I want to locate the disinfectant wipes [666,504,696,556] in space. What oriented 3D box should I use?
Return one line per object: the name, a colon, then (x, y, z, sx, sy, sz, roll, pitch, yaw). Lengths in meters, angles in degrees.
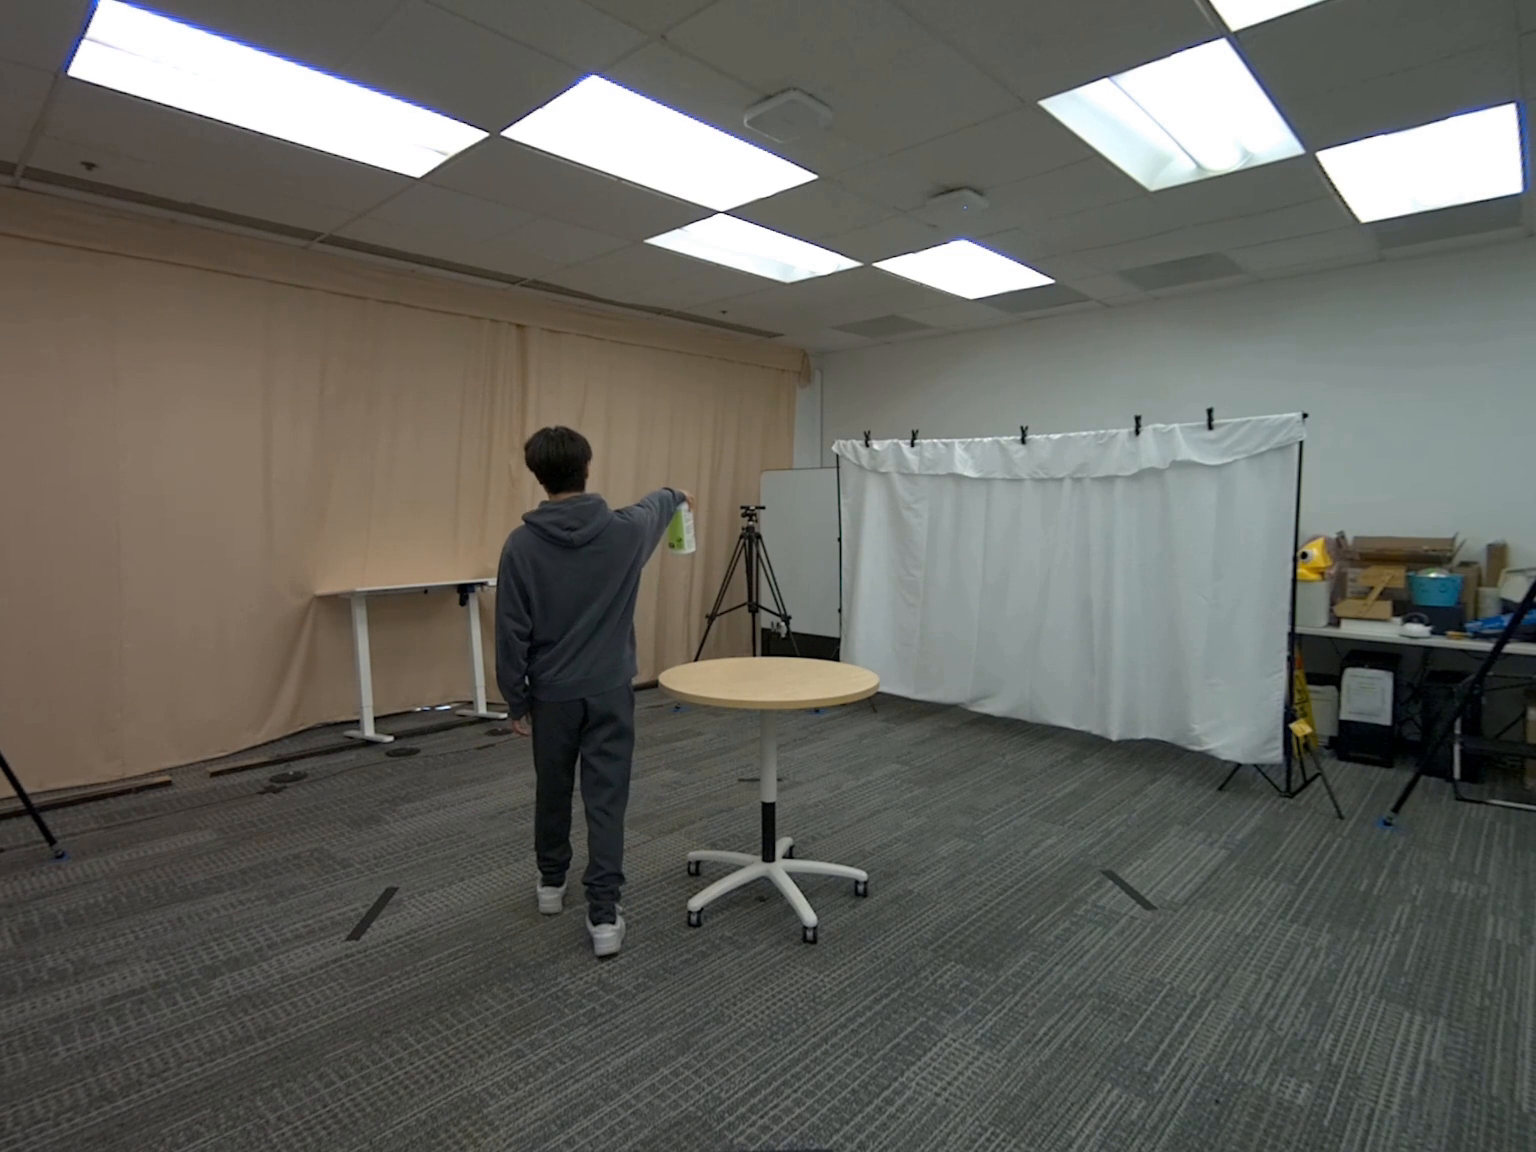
disinfectant wipes: (-0.351, -0.200, 3.384, 0.118, 0.215, 0.119, -2, 14, -1)
